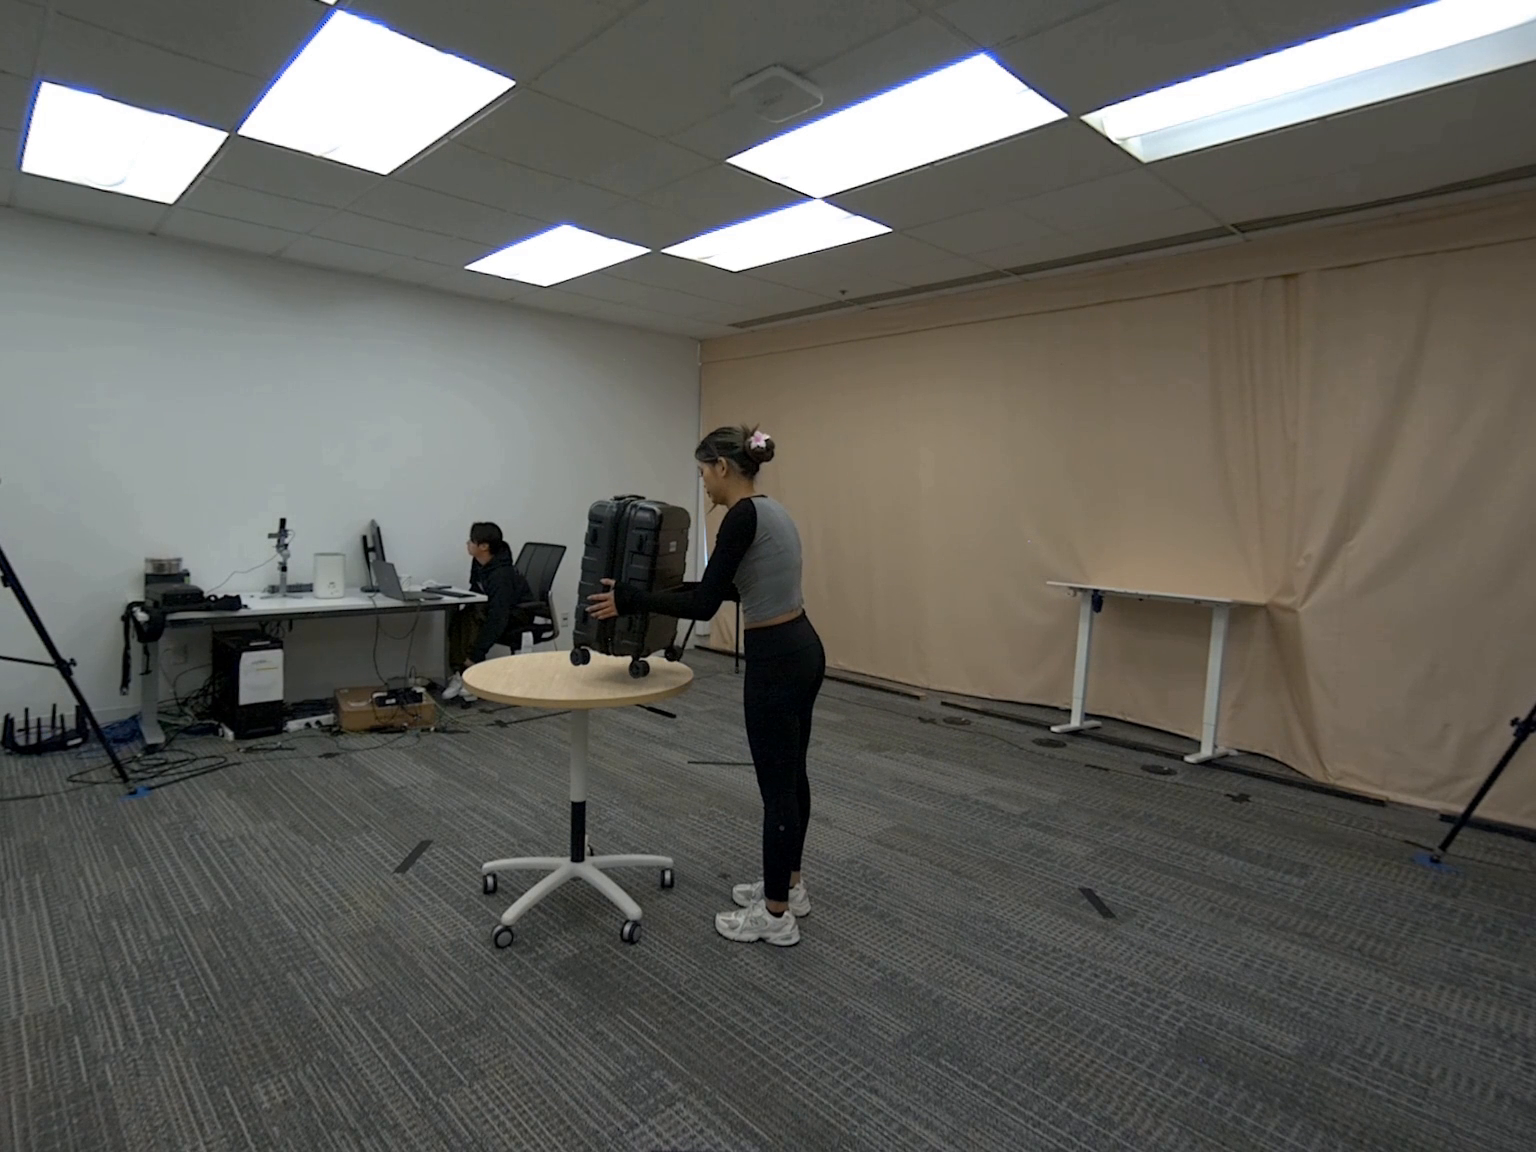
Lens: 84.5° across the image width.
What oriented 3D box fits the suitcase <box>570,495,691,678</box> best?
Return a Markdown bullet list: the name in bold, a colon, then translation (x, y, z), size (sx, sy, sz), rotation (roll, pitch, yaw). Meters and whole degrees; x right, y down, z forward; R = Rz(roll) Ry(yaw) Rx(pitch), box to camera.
- **suitcase**: translation (-0.443, 0.013, 2.791), size (0.252, 0.547, 0.371), rotation (9, 5, 17)
